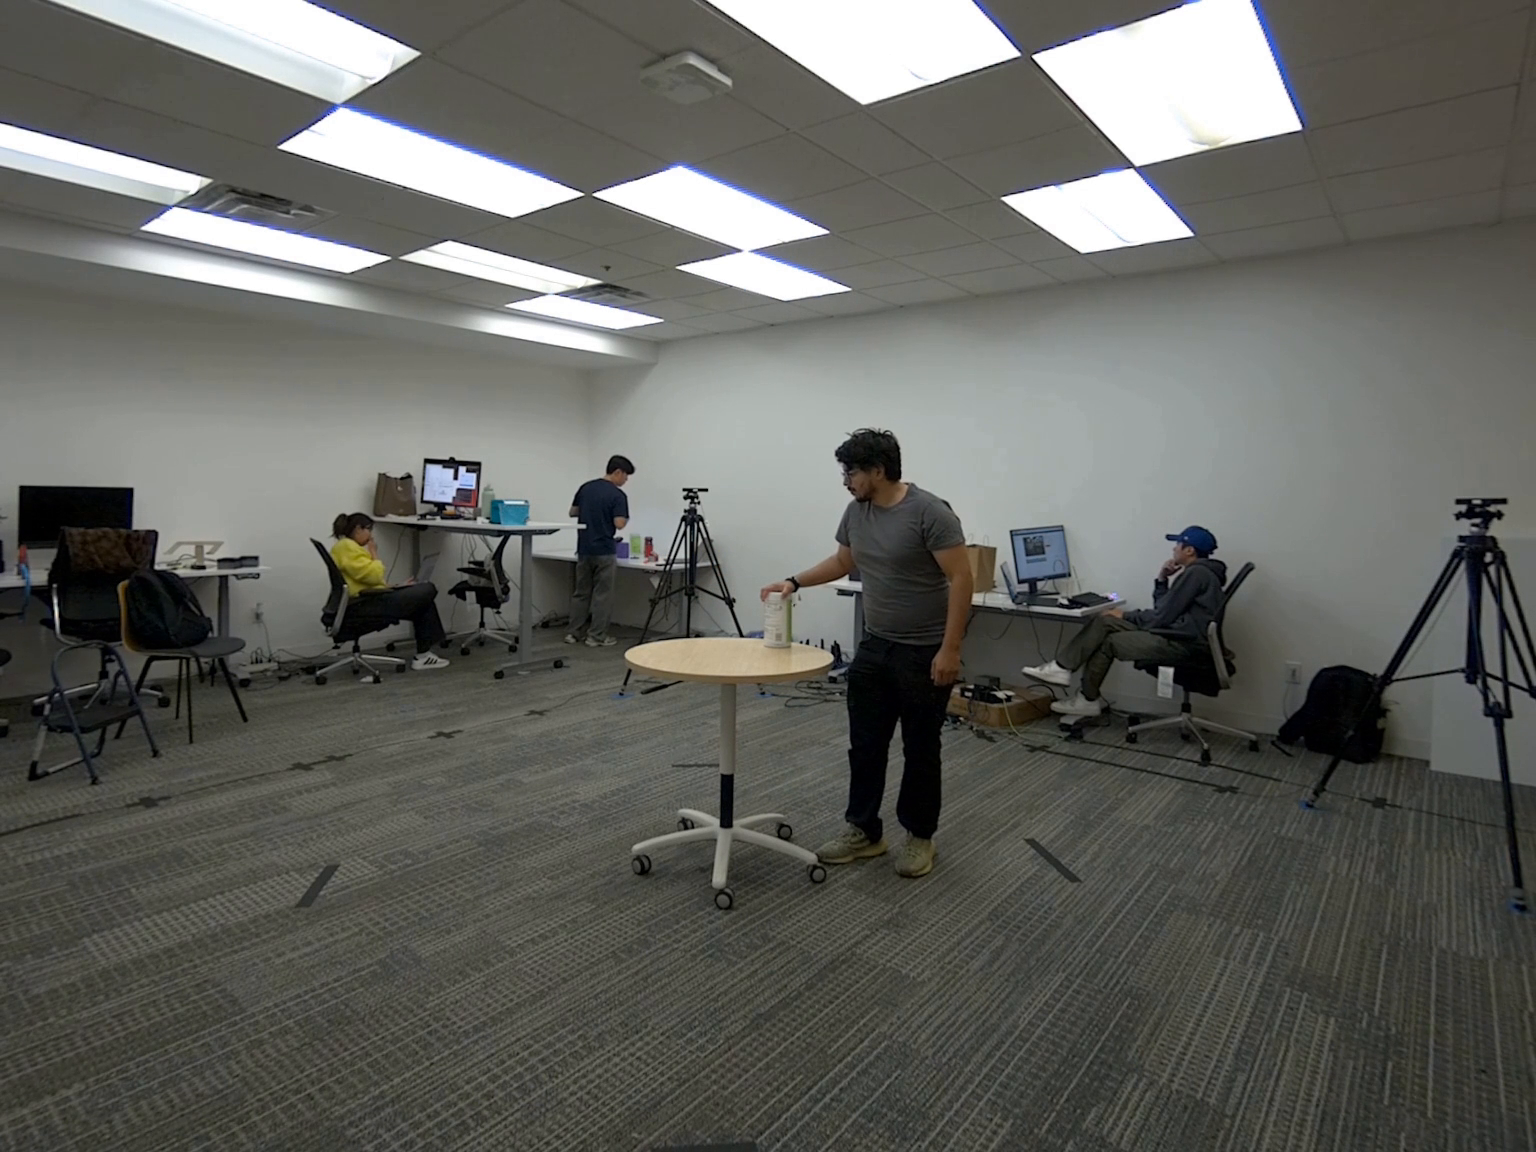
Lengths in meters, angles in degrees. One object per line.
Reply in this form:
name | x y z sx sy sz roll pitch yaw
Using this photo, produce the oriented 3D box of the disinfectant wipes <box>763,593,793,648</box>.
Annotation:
disinfectant wipes | 0.032 0.164 3.331 0.118 0.217 0.118 0 1 -2
